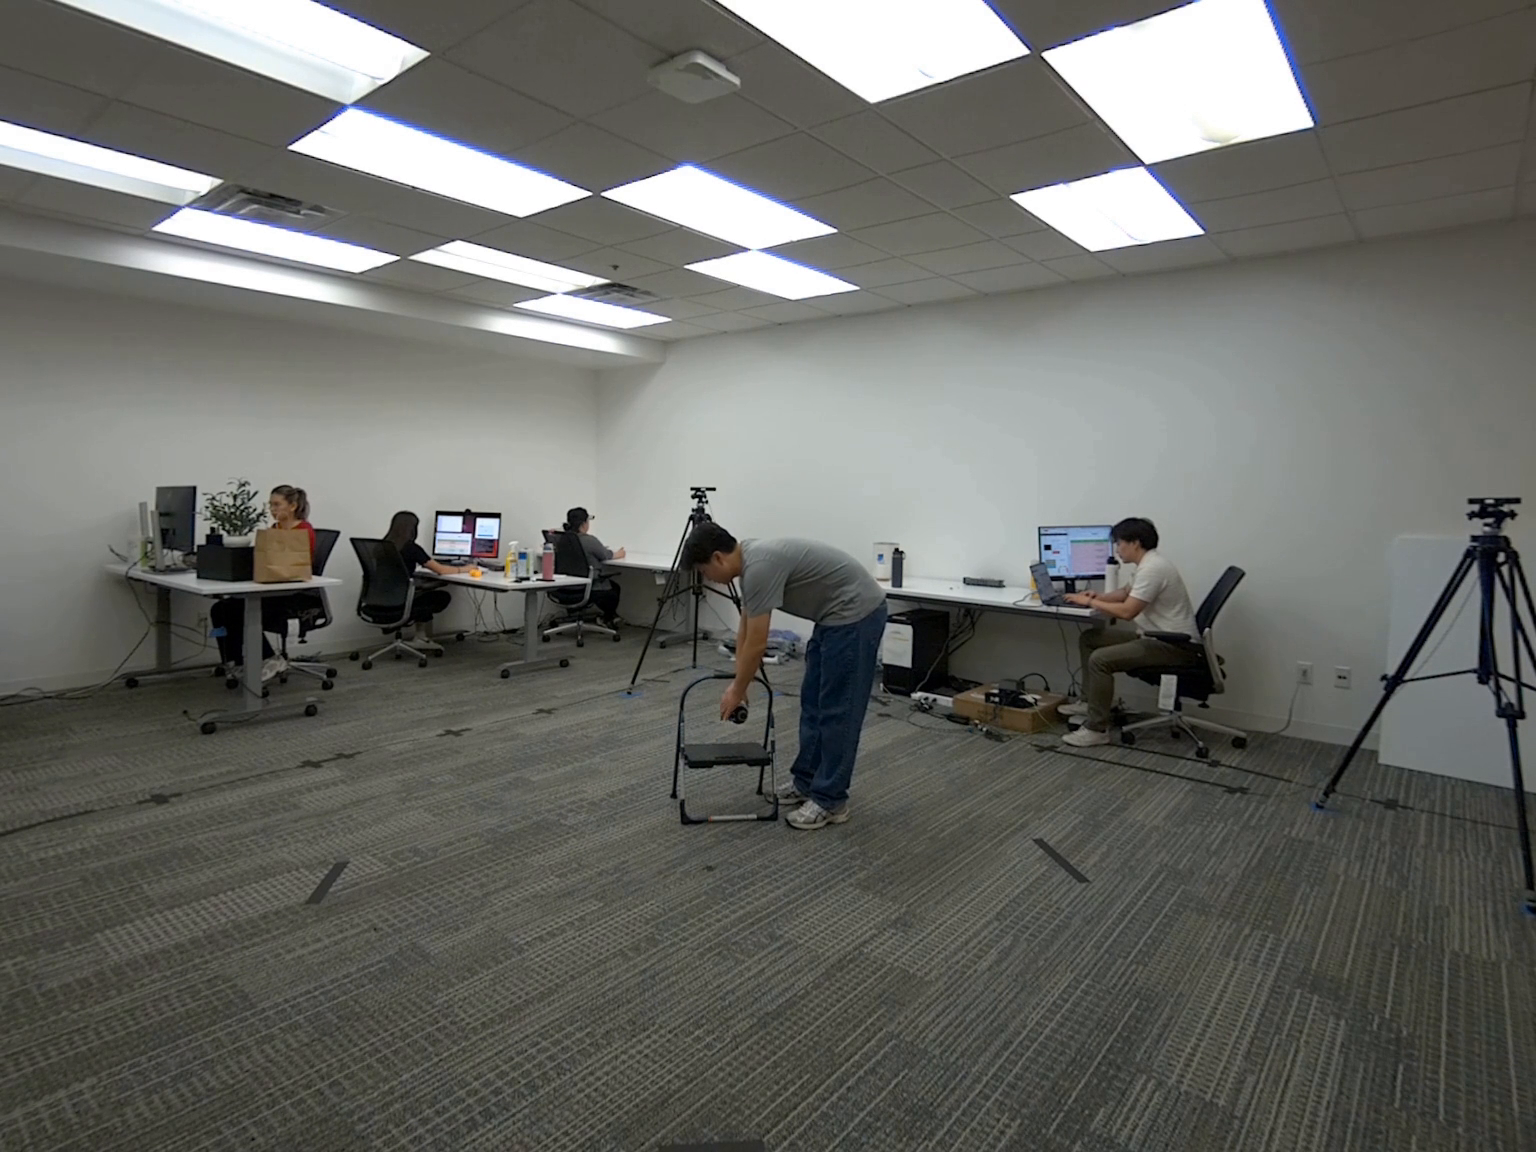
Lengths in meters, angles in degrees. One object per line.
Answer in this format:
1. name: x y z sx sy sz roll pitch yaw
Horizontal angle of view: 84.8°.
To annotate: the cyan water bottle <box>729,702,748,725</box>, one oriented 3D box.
1. cyan water bottle: -0.150 0.576 3.764 0.092 0.092 0.286 1 7 -5
